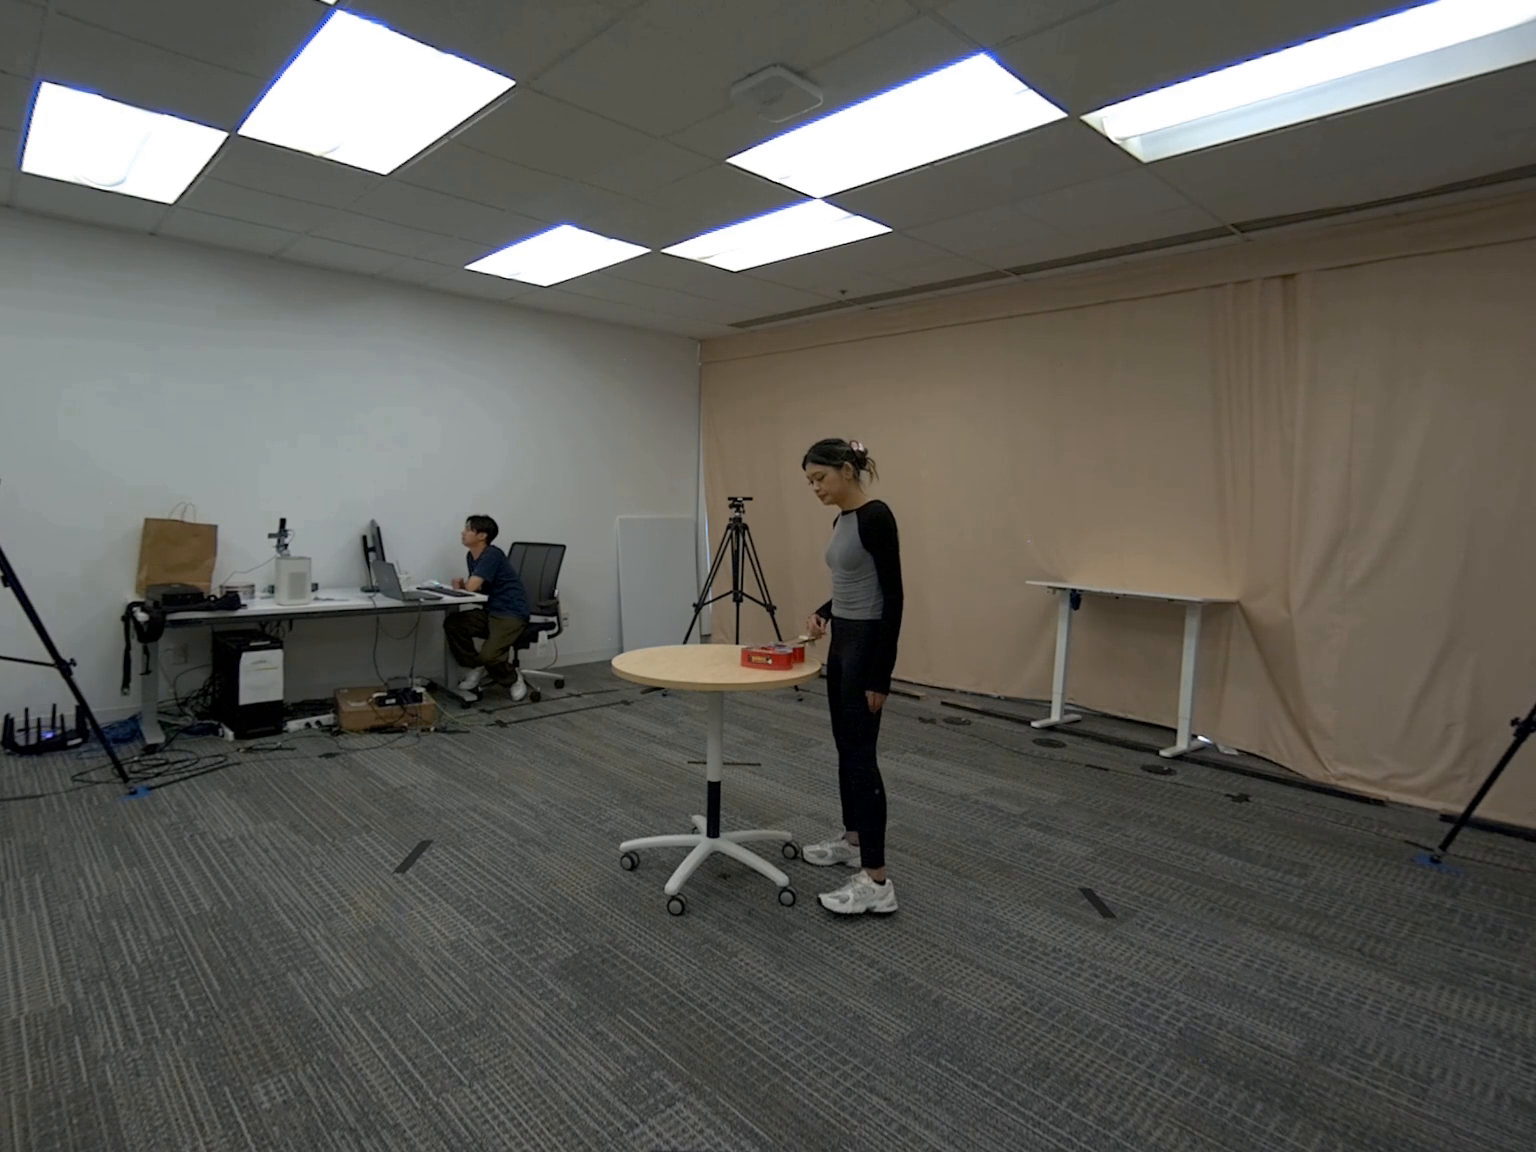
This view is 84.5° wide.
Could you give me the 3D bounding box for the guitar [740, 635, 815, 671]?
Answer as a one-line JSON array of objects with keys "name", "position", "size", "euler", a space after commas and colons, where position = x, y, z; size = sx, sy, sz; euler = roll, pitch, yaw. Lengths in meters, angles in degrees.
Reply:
[{"name": "guitar", "position": [0.103, 0.280, 3.157], "size": [0.197, 0.070, 0.487], "euler": [2, 5, 37]}]
